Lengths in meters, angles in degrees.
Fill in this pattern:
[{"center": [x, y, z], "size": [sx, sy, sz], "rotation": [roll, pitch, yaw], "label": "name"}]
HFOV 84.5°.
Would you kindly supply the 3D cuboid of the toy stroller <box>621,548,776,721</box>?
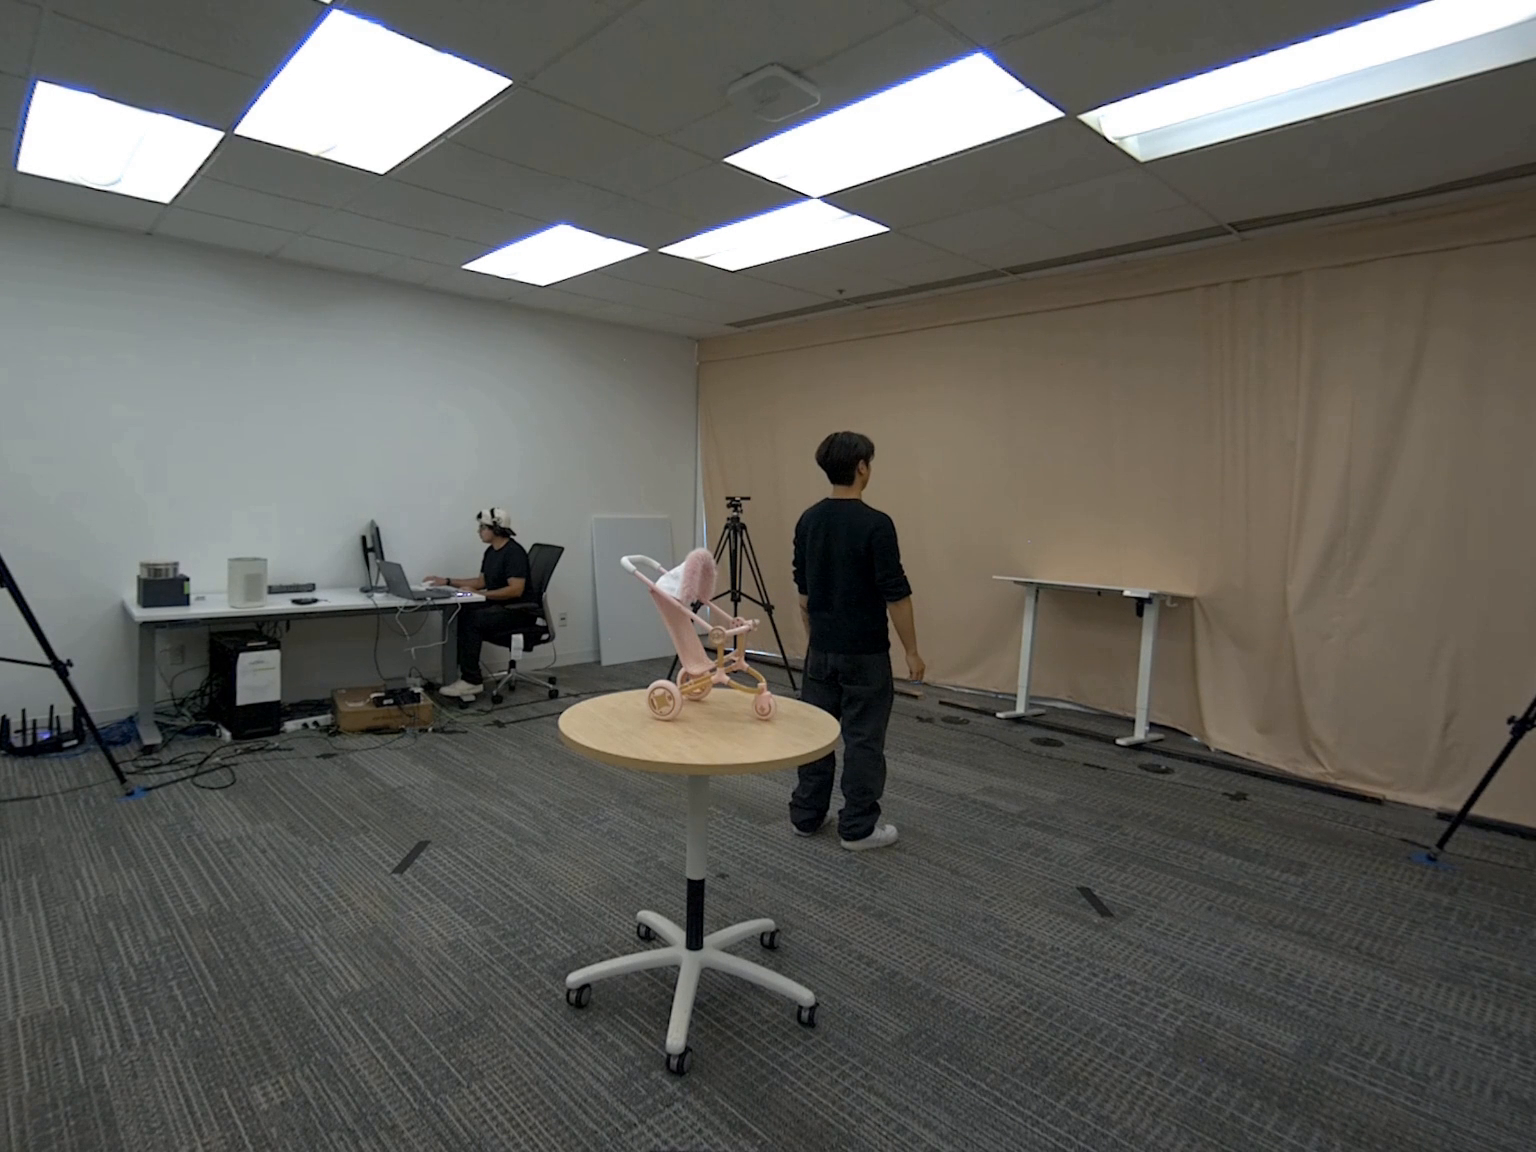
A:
[{"center": [-0.184, 0.167, 2.361], "size": [0.345, 0.536, 0.277], "rotation": [-14, -3, 20], "label": "toy stroller"}]
